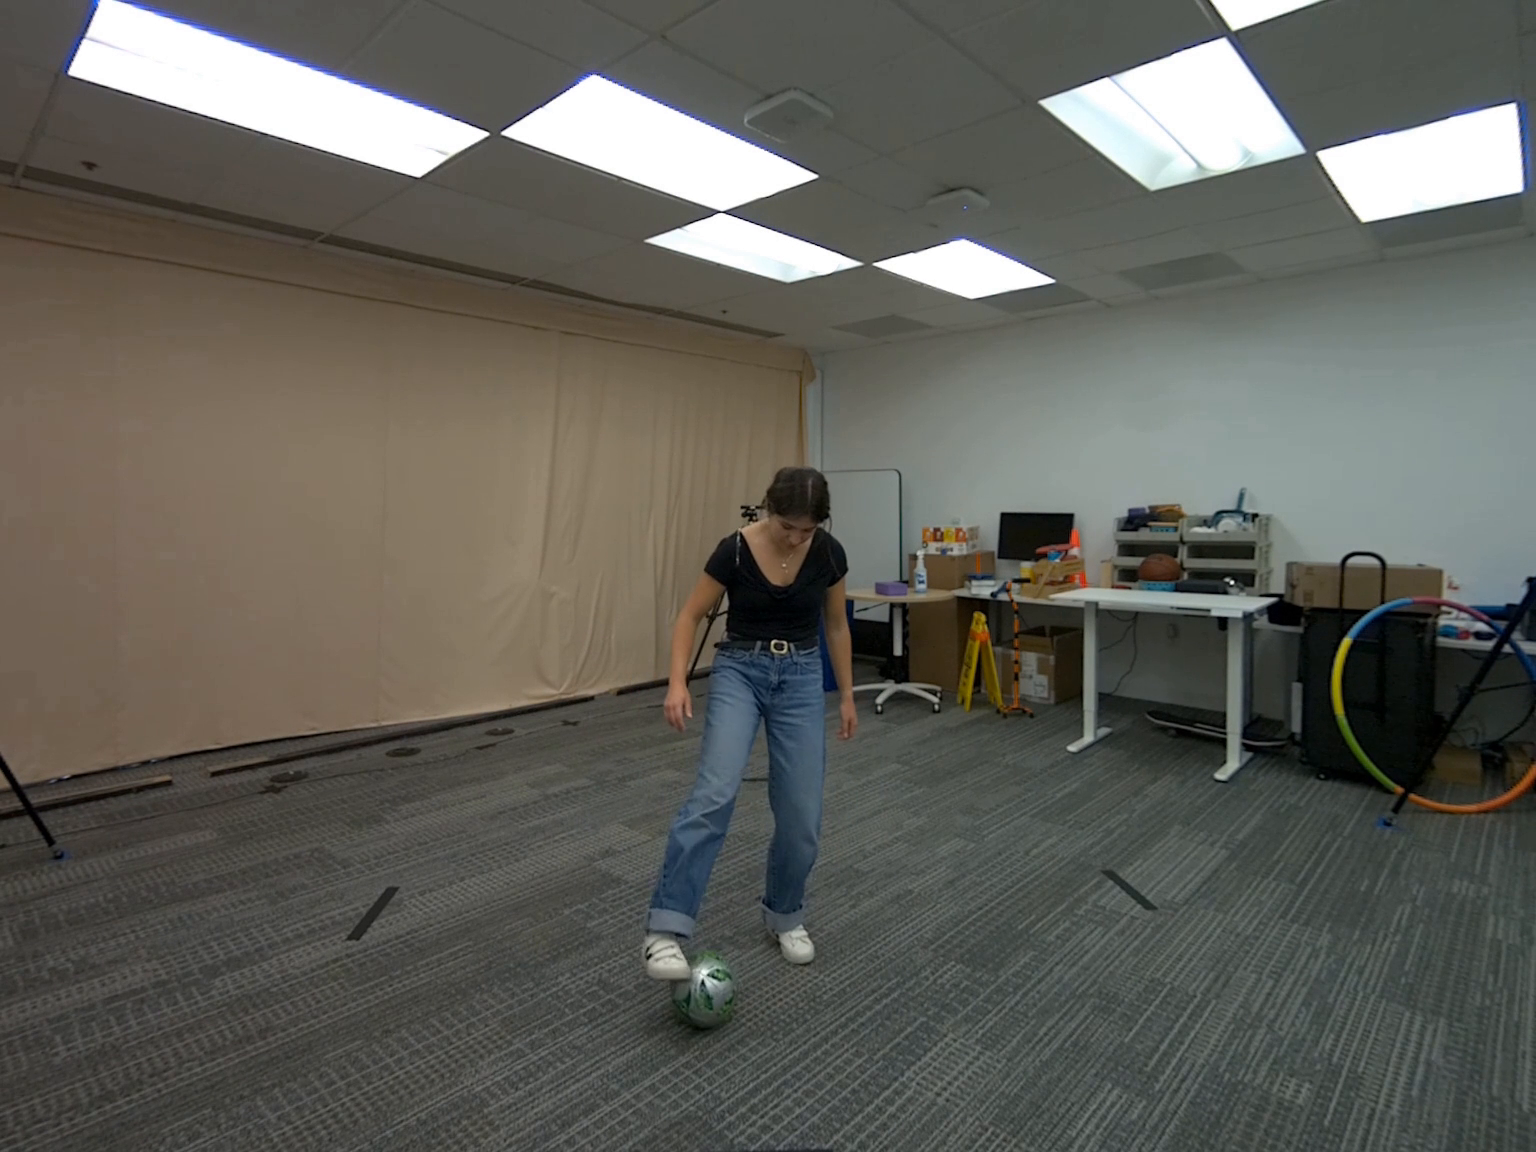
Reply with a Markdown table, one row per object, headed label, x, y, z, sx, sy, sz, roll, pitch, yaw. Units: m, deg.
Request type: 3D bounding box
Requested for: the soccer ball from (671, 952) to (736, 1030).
| label | x | y | z | sx | sy | sz | roll | pitch | yaw |
| --- | --- | --- | --- | --- | --- | --- | --- | --- | --- |
| soccer ball | -0.151 | 1.114 | 2.281 | 0.187 | 0.187 | 0.188 | 0 | 4 | -2 |
